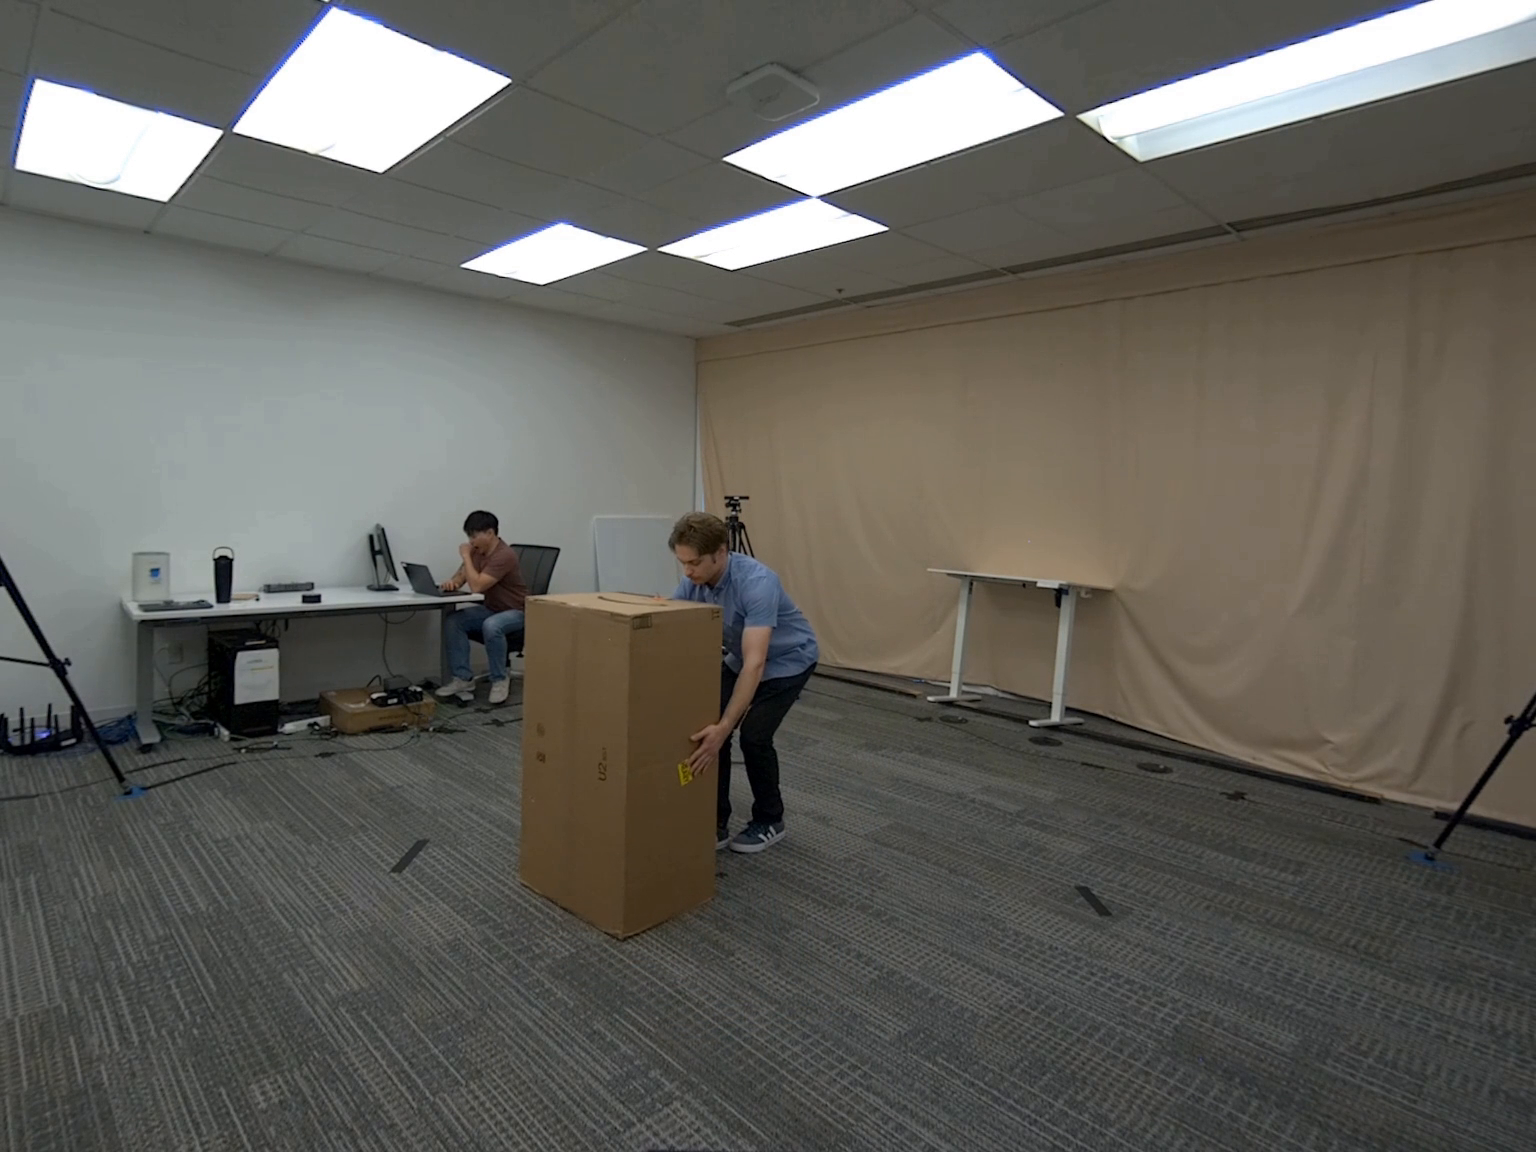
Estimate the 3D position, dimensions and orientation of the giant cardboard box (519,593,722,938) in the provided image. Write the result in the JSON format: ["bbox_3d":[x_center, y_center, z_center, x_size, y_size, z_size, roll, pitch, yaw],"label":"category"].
[{"bbox_3d":[-0.528,0.600,2.942,0.592,1.024,0.416,4,3,42],"label":"giant cardboard box"}]
